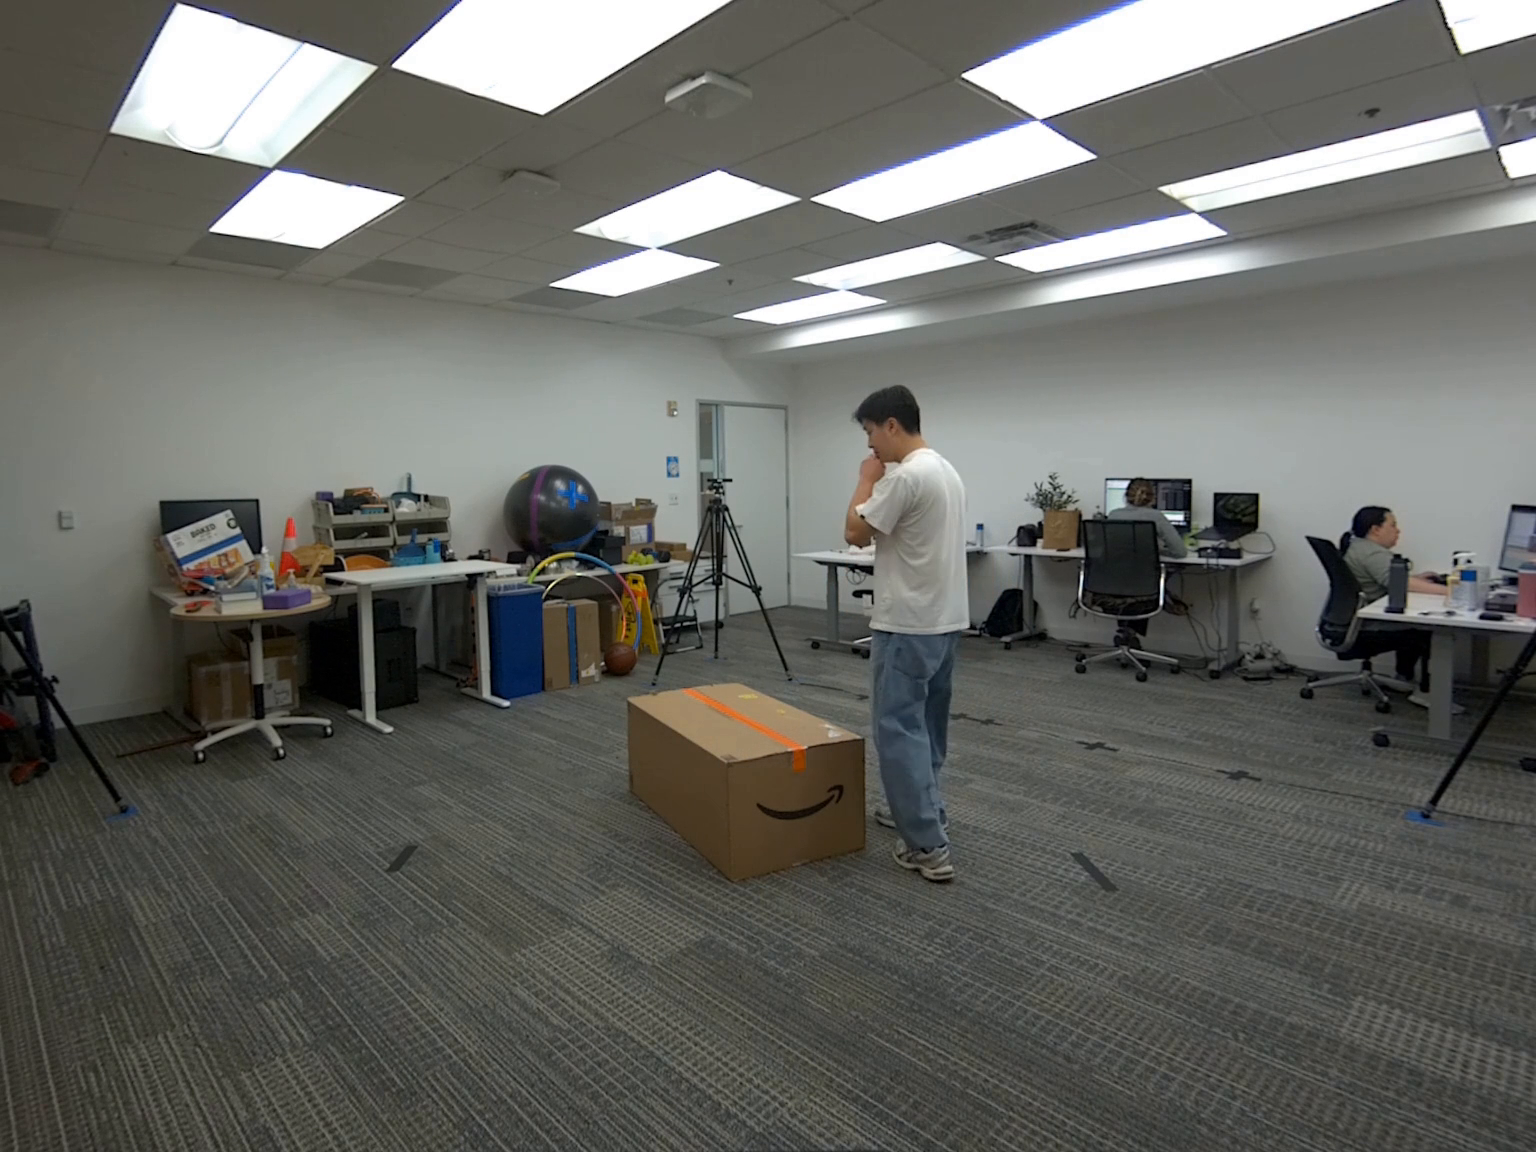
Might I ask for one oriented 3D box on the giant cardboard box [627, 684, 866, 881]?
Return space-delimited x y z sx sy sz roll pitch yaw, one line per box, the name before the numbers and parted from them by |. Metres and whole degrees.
giant cardboard box | -0.136 0.787 3.526 0.564 0.424 1.054 -3 6 -29
